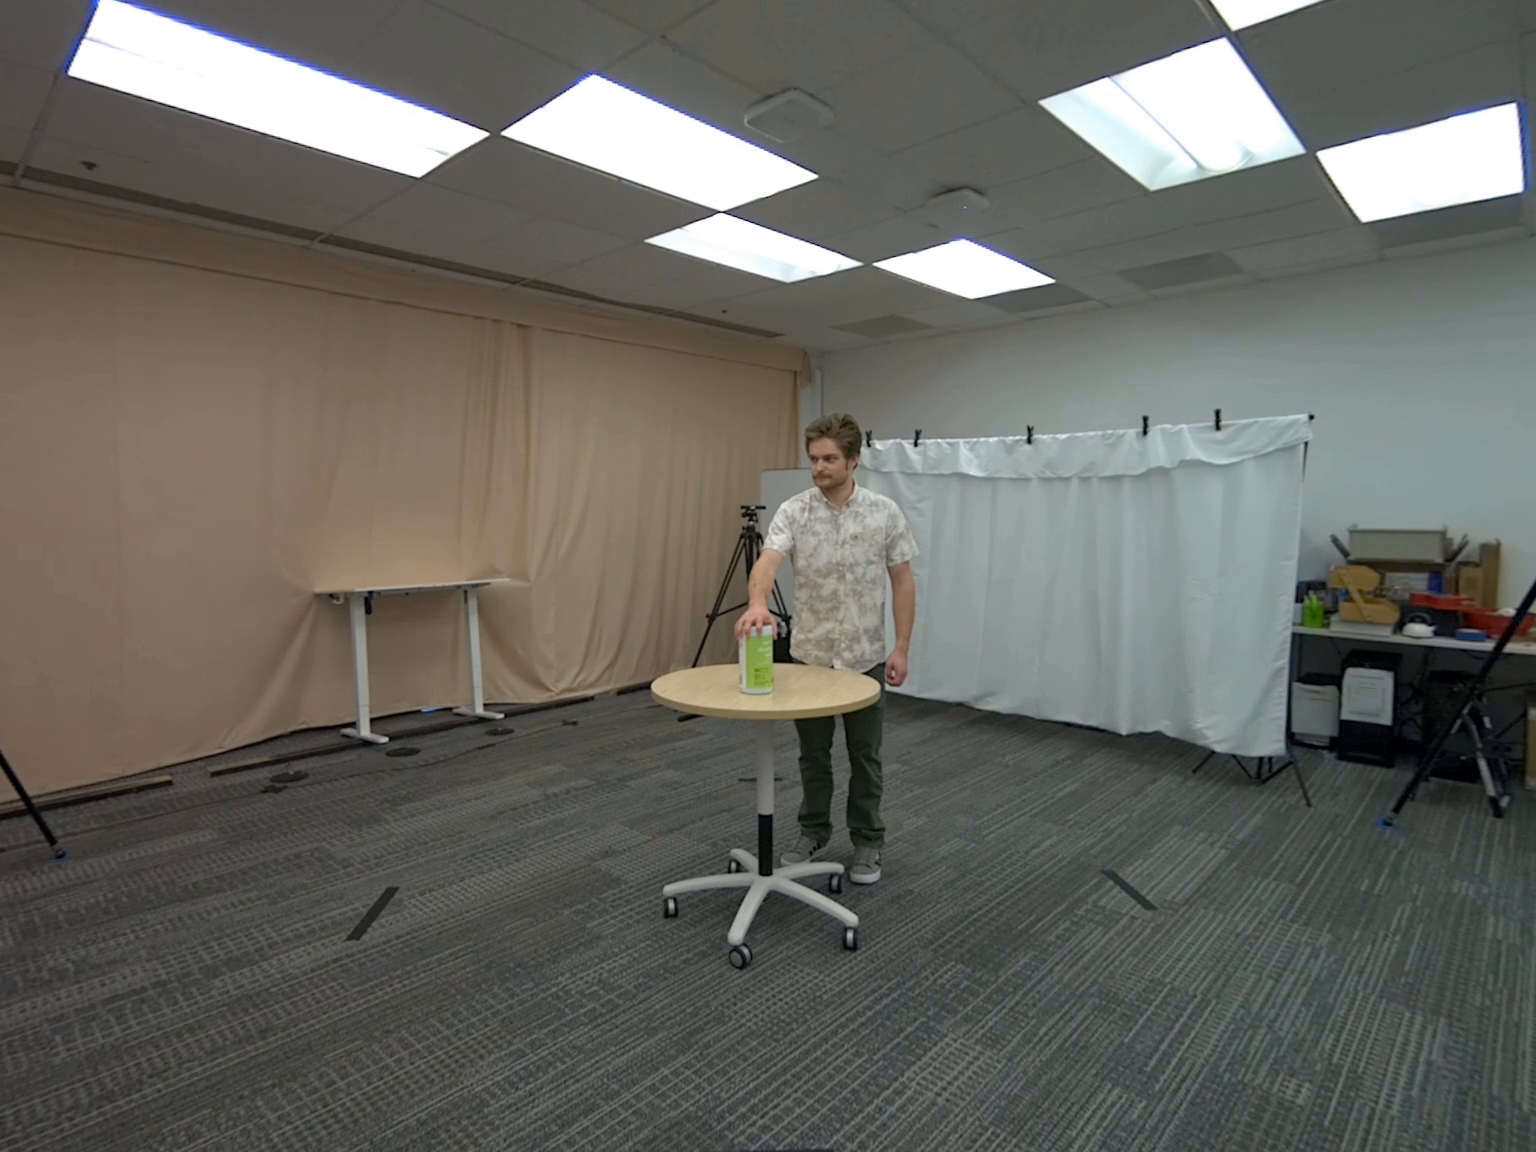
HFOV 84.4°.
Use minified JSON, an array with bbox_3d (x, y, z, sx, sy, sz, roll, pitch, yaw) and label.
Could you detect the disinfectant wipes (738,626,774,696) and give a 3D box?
[{"bbox_3d":[-0.039,0.266,2.716,0.118,0.217,0.118,0,2,-2],"label":"disinfectant wipes"}]
